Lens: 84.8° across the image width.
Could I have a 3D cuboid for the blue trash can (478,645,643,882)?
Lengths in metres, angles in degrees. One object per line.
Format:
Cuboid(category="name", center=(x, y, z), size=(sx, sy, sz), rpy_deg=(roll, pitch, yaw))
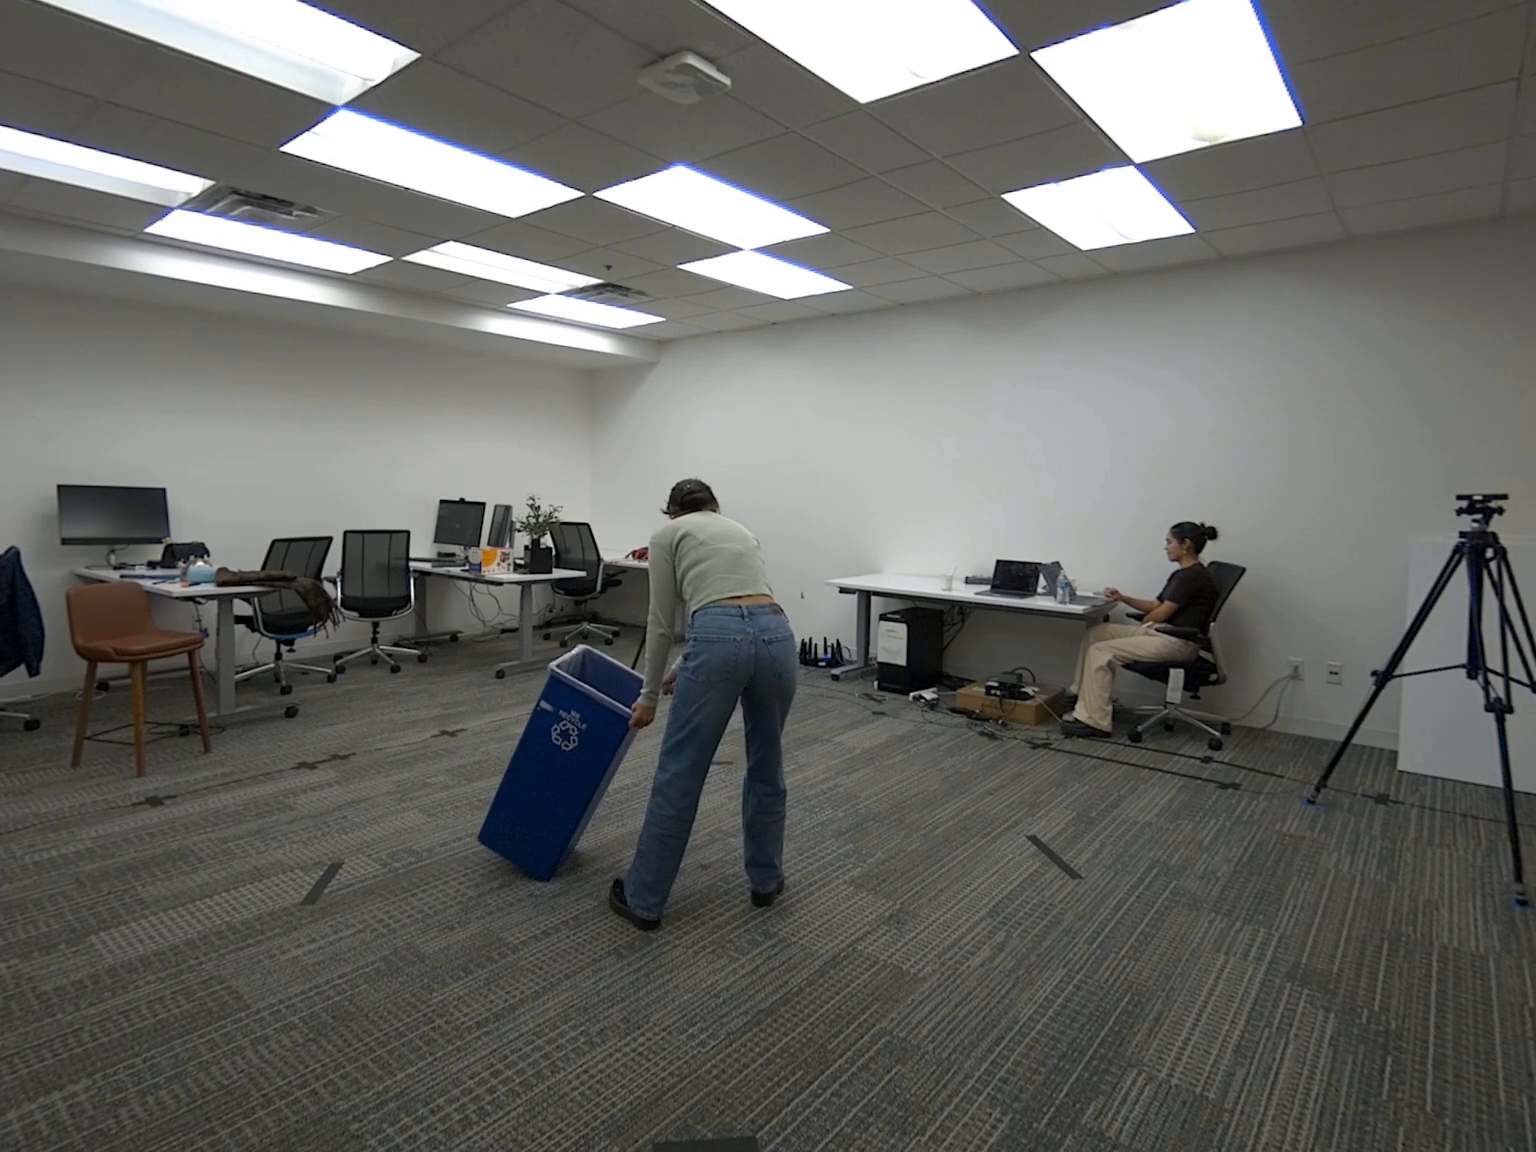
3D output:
Cuboid(category="blue trash can", center=(-0.719, 0.676, 3.086), size=(0.377, 0.711, 0.376), rpy_deg=(27, 8, 5))
